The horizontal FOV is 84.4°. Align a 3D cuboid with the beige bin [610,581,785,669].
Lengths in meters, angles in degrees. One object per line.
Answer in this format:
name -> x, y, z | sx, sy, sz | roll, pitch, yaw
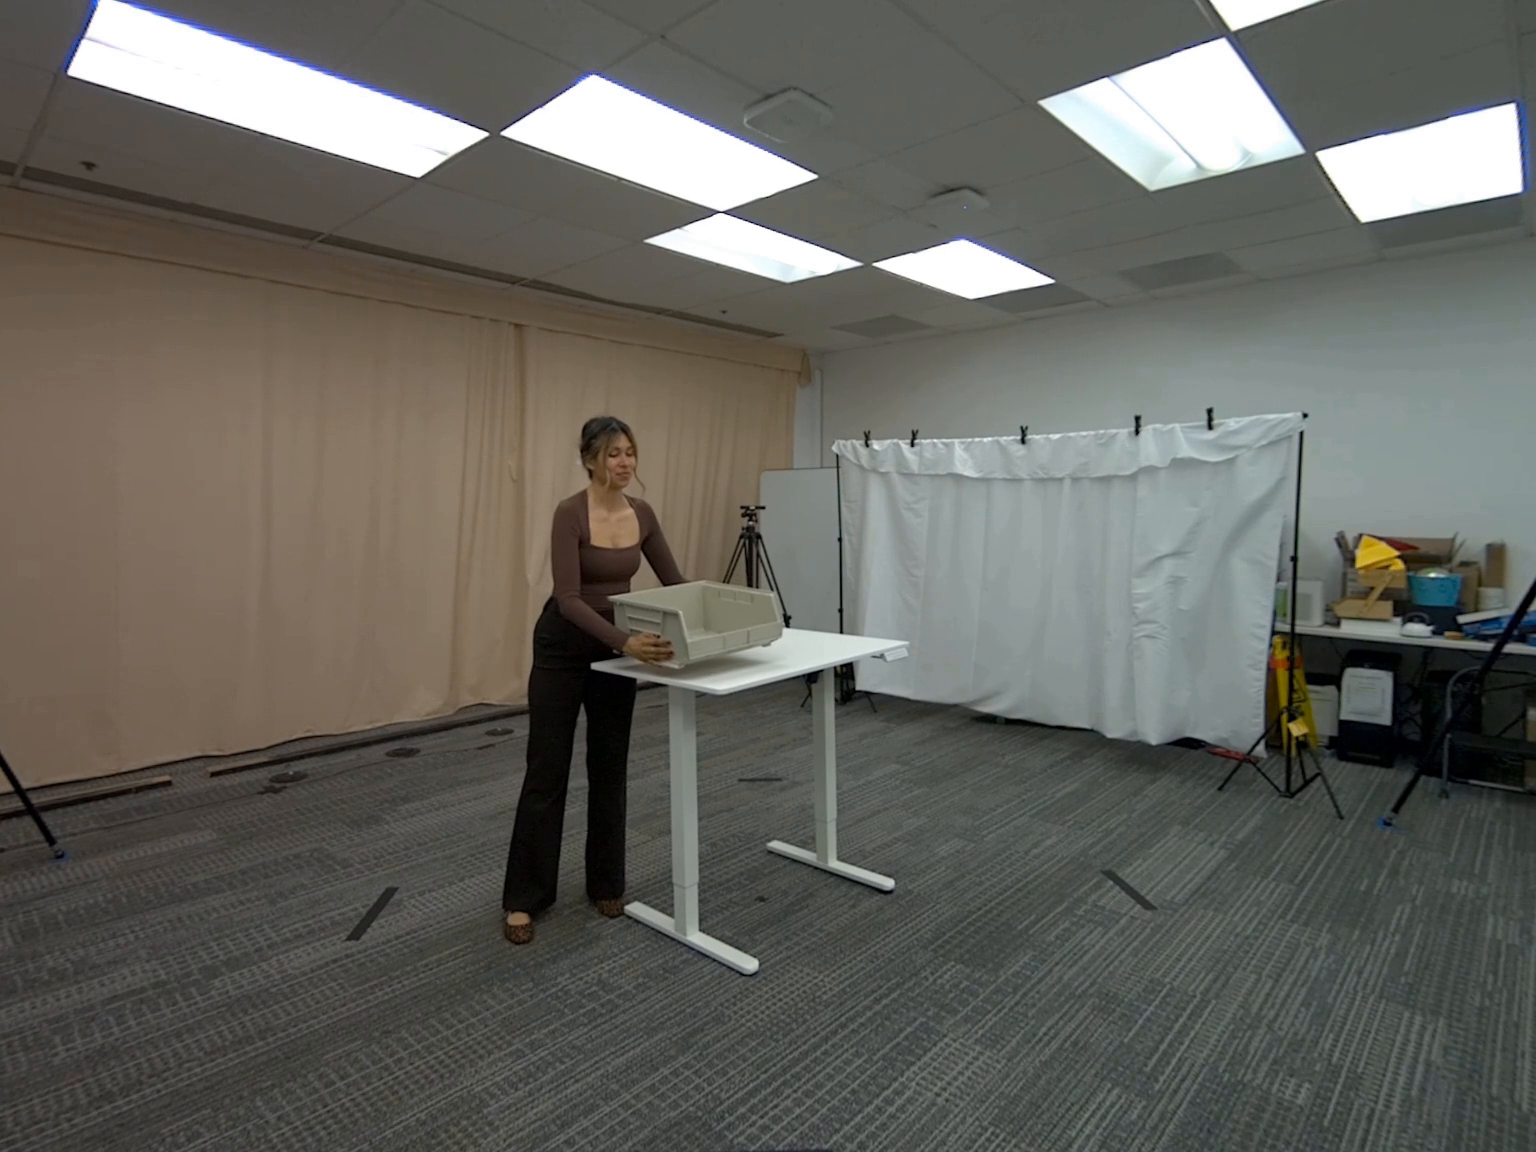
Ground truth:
beige bin -> -0.222, 0.151, 2.690 | 0.390, 0.188, 0.410 | 6, 11, 44
